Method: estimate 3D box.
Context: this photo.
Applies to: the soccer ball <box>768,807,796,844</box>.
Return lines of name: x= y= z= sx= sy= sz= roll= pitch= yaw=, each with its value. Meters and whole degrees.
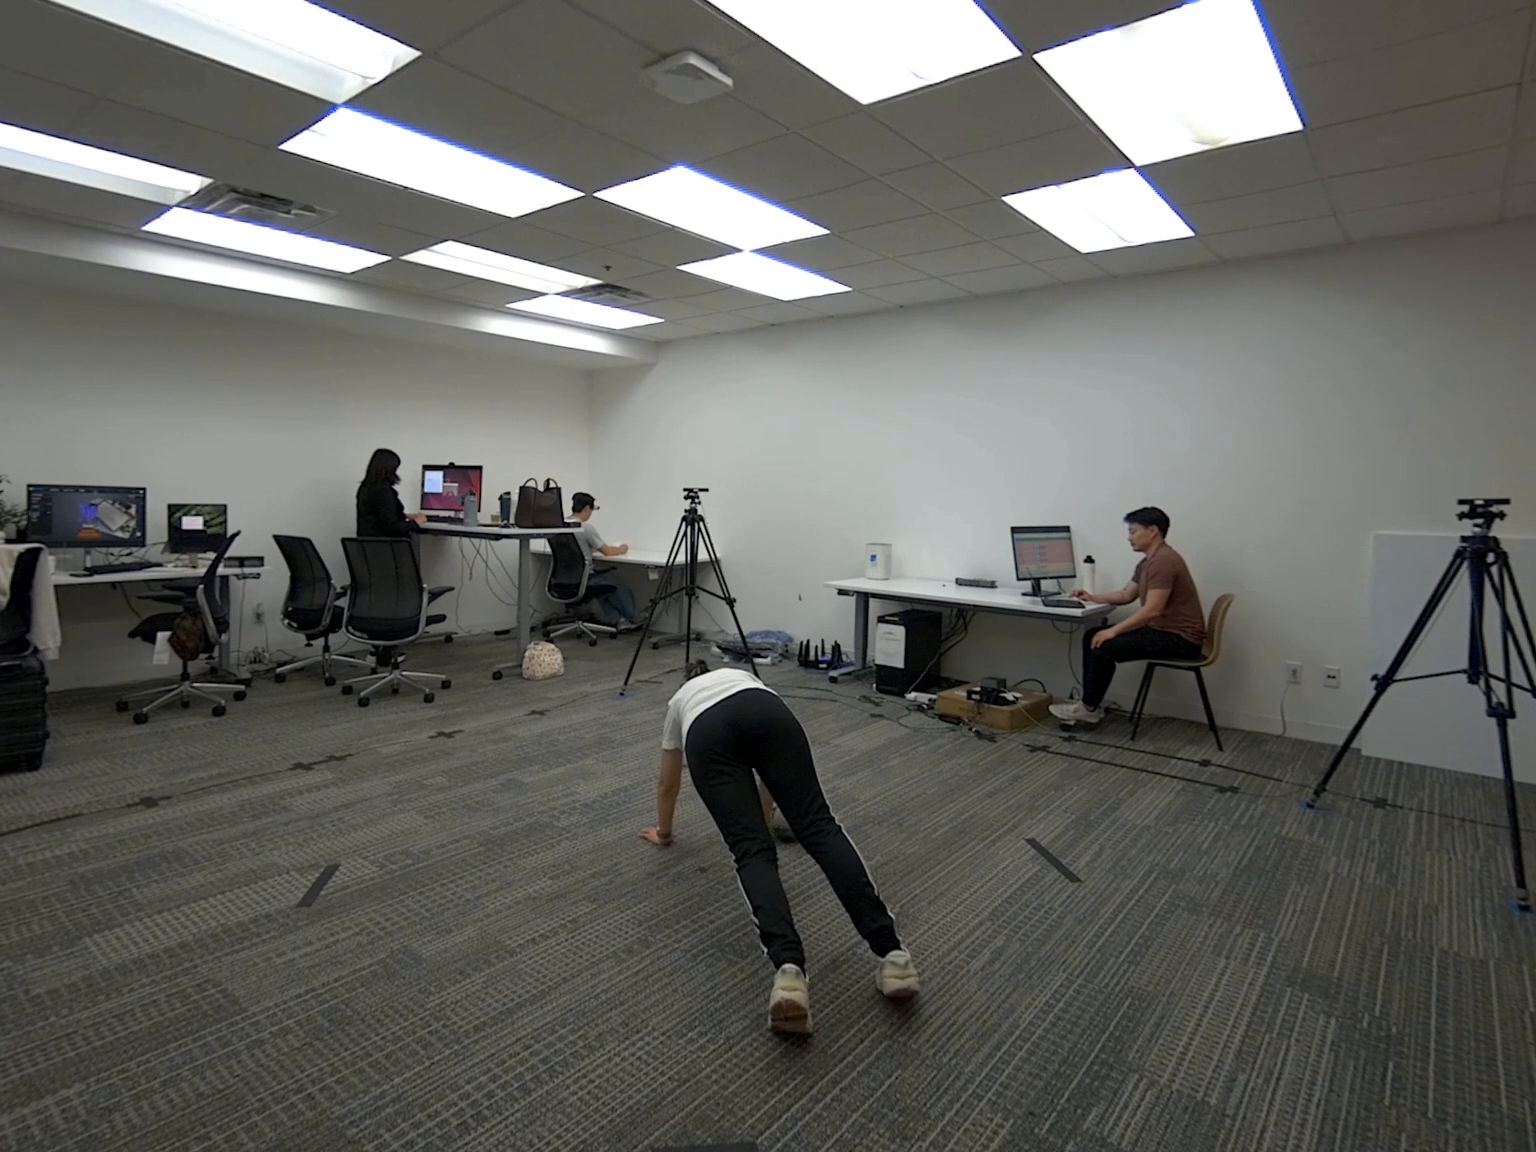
soccer ball: x=0.078 y=0.947 z=3.411 sx=0.187 sy=0.187 sz=0.188 roll=1 pitch=4 yaw=-2
